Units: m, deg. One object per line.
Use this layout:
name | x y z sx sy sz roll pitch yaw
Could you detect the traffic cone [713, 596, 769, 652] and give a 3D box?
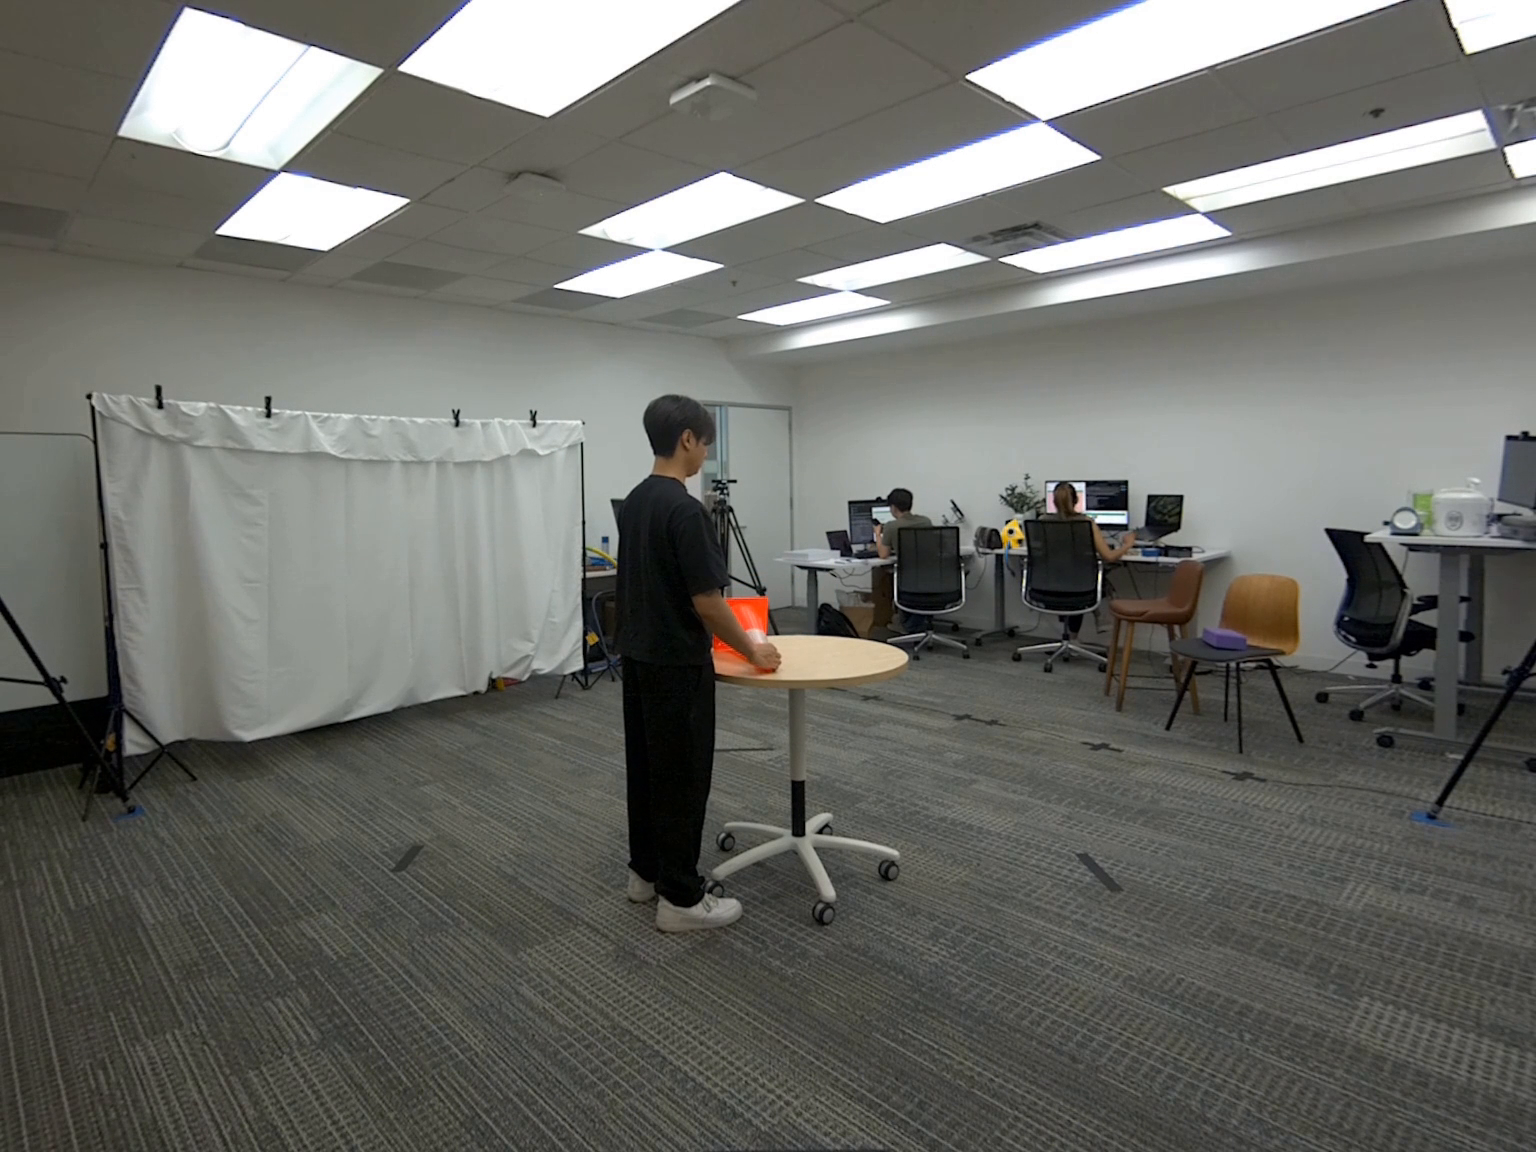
traffic cone | -0.043 0.241 2.885 0.202 0.200 0.395 -5 19 -15
